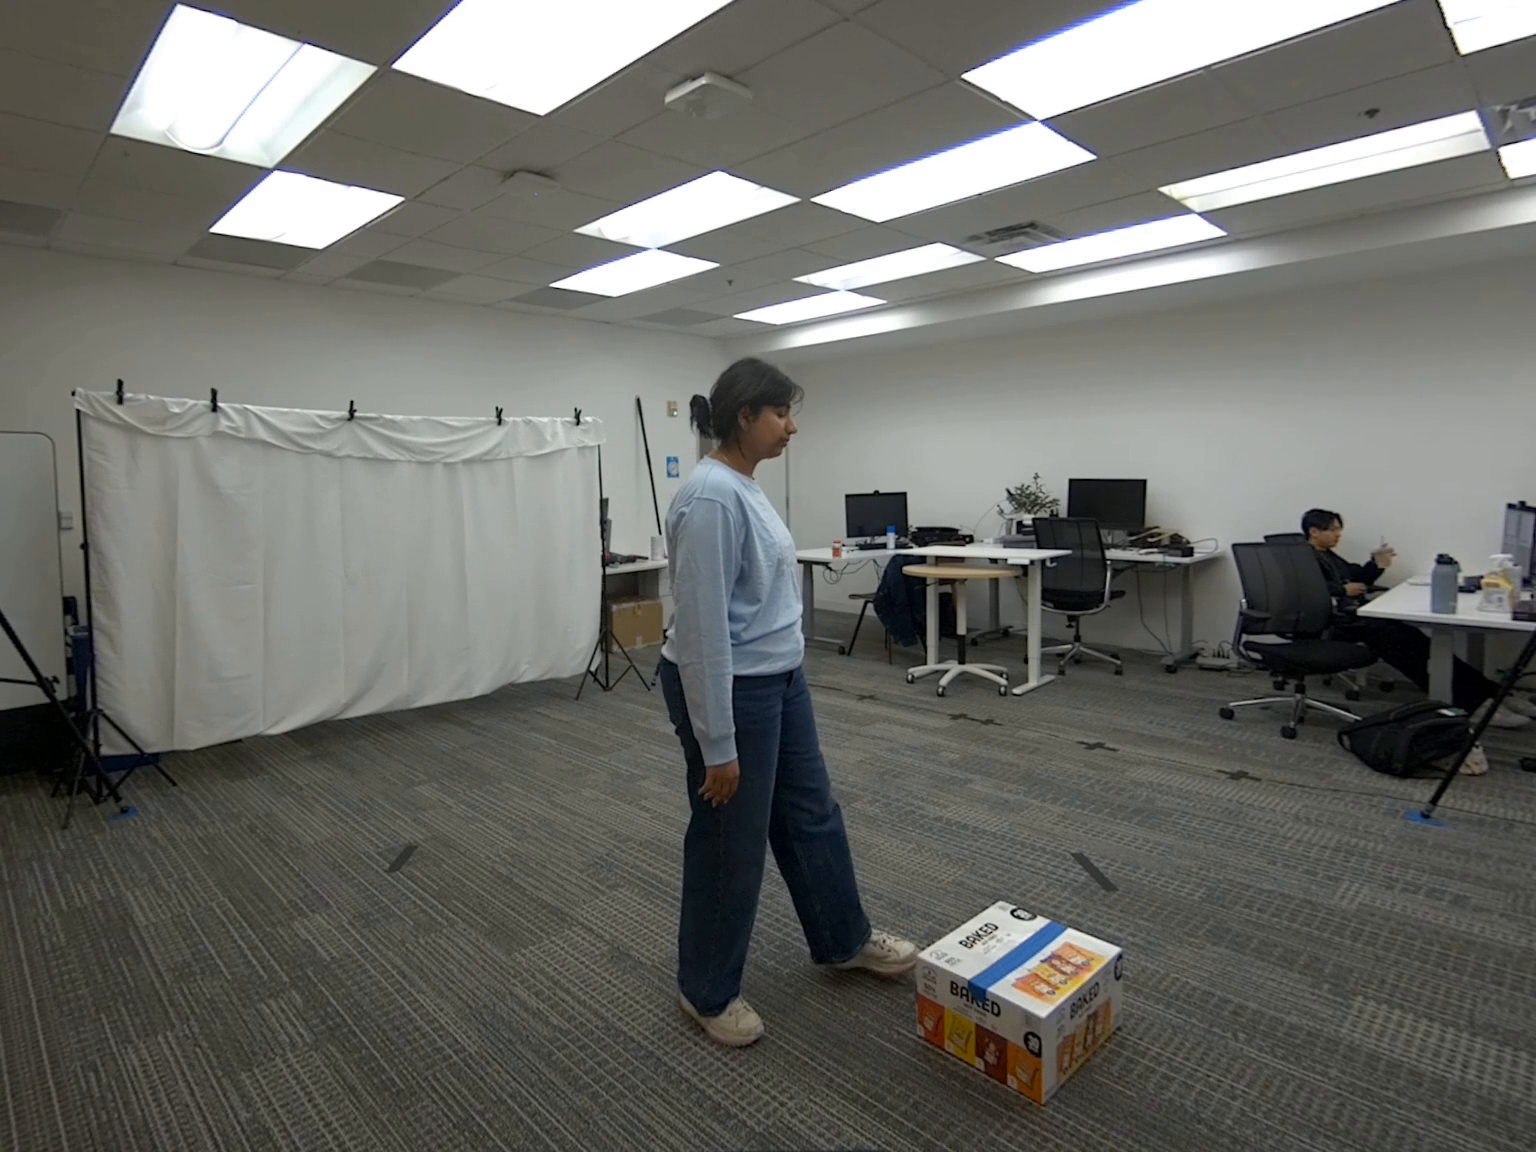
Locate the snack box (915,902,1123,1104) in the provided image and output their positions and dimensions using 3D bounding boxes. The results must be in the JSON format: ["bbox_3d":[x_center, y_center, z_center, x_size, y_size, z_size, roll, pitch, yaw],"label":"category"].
[{"bbox_3d":[0.636,1.040,2.143,0.395,0.204,0.351,-7,9,-43],"label":"snack box"}]
